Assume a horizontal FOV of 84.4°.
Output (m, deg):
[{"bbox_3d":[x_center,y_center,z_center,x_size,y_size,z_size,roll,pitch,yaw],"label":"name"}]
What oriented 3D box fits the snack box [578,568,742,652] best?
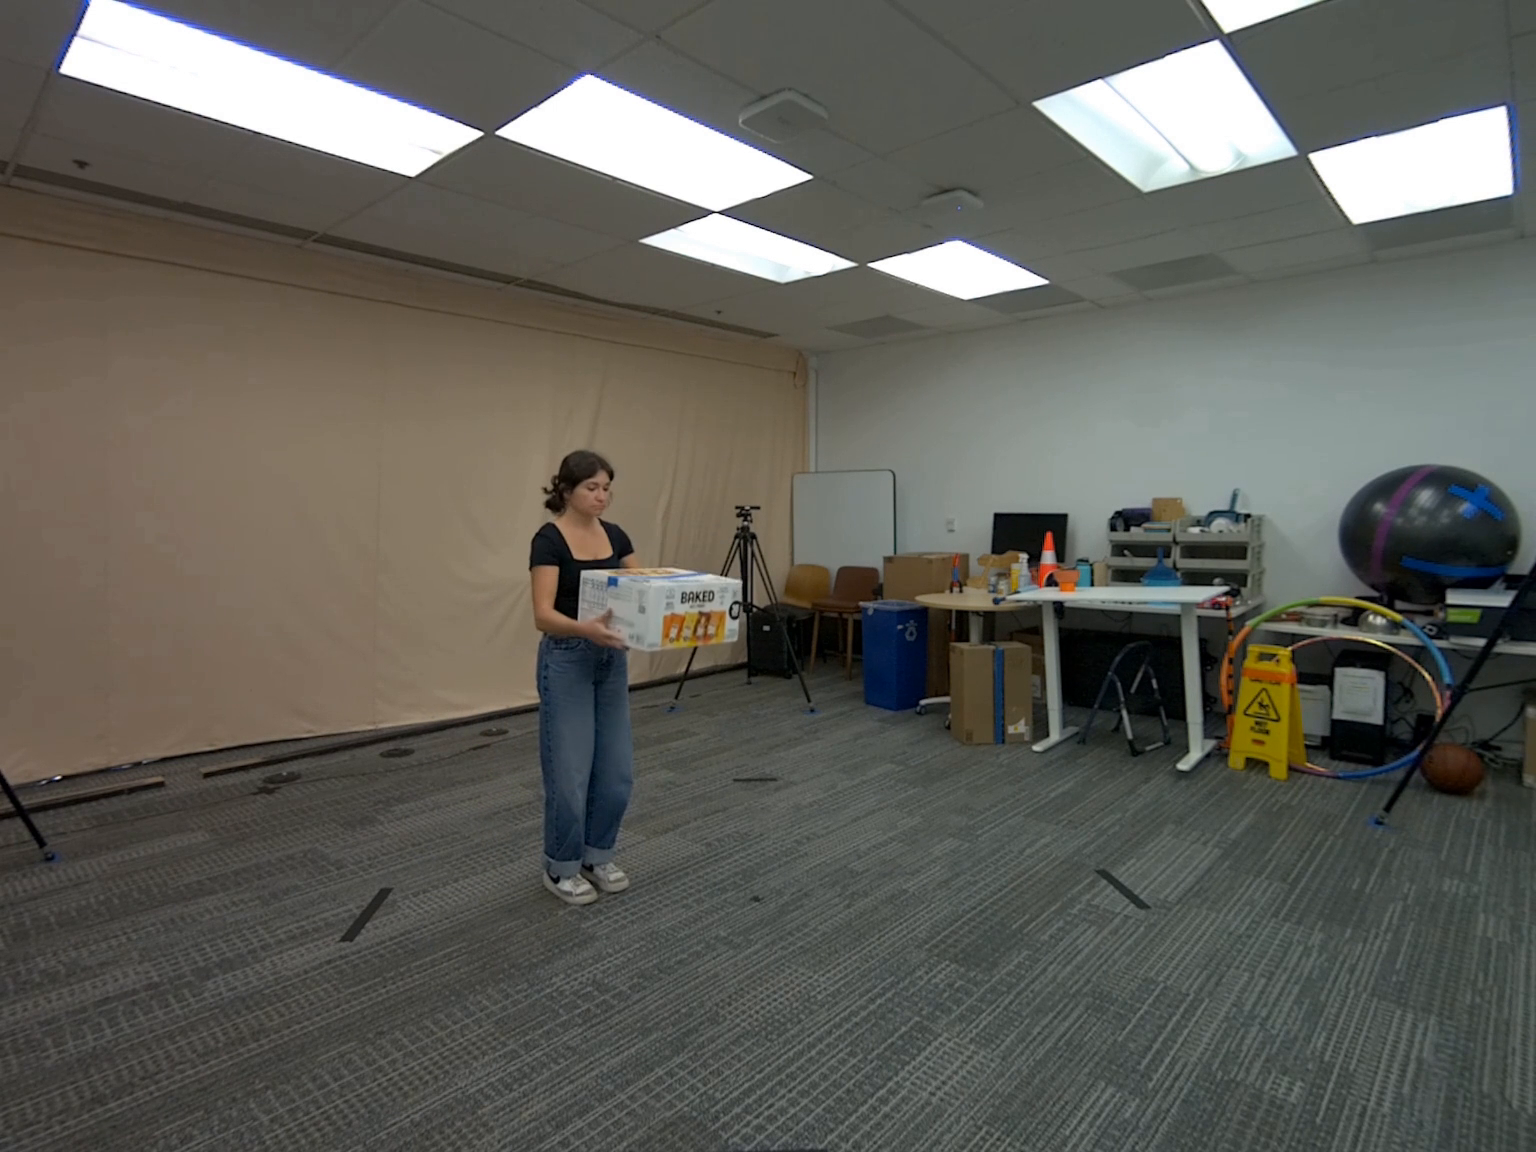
[{"bbox_3d":[-0.347,0.079,2.725,0.352,0.205,0.392,8,7,42],"label":"snack box"}]
